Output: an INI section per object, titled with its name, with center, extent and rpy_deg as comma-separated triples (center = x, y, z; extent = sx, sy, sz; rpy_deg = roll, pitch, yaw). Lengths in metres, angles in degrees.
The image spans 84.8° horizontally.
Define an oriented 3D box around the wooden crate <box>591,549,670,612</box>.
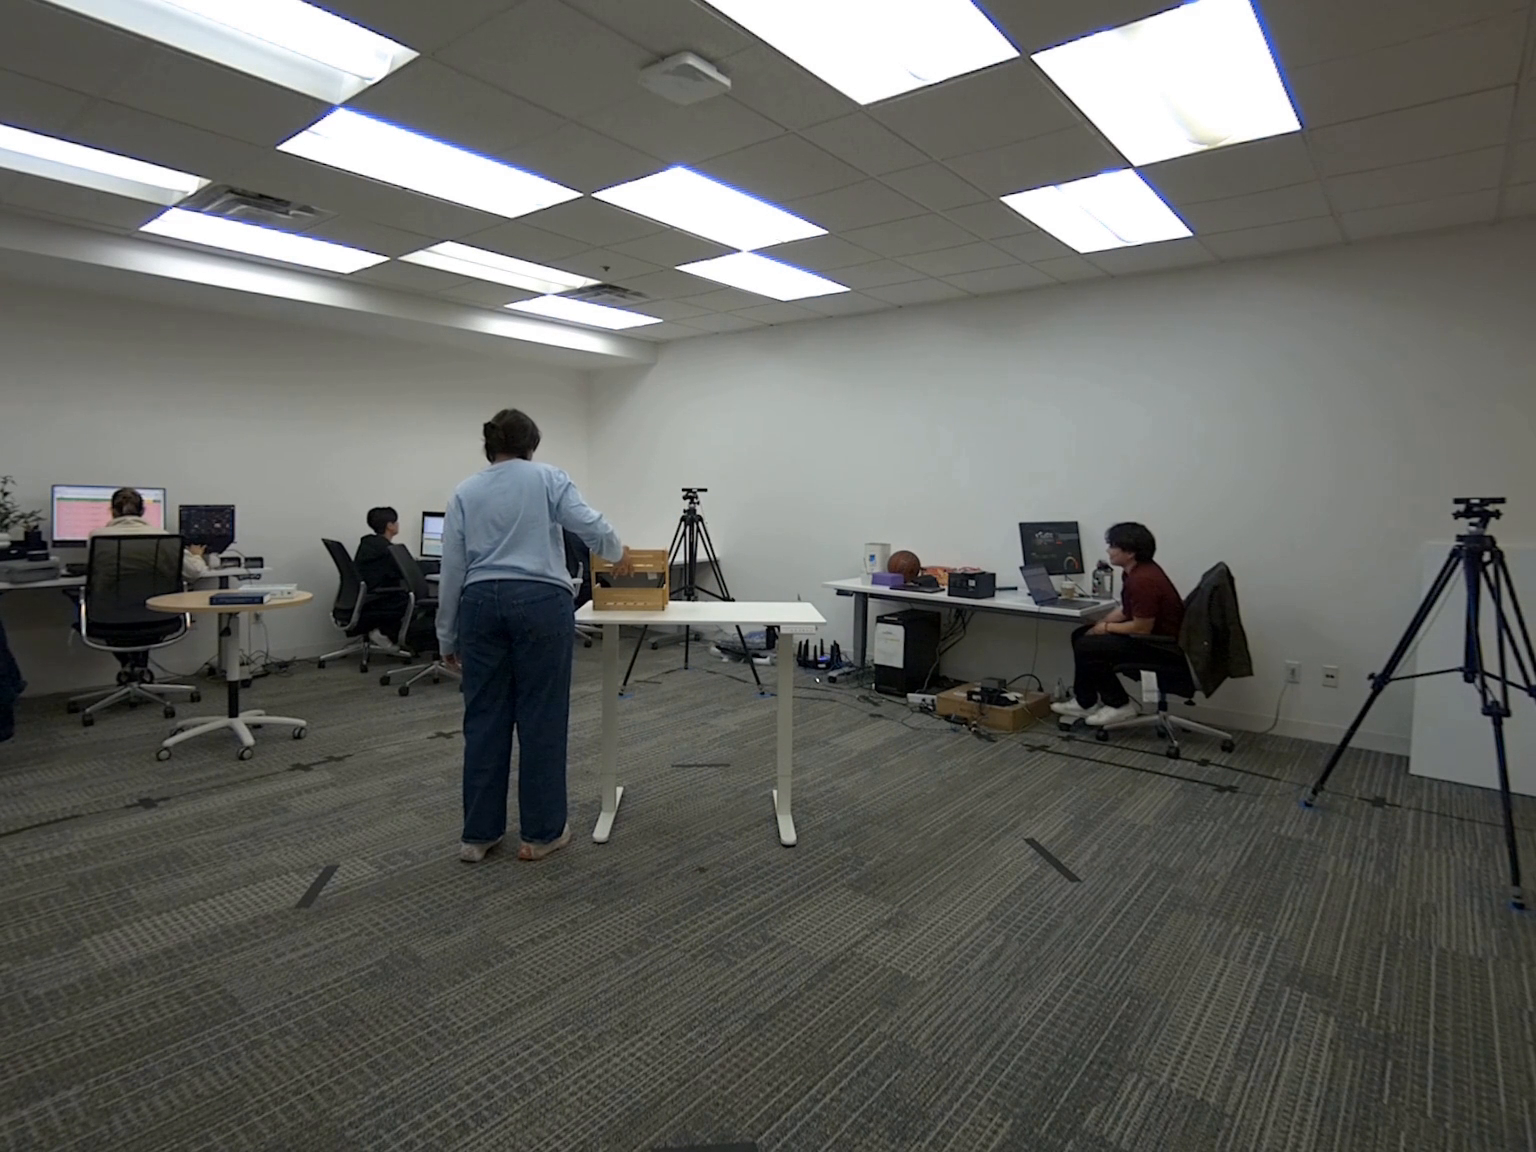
[wooden crate]
center = -0.605, 0.000, 3.635
extent = 0.322, 0.272, 0.305
rpy_deg = 1, 5, -7
